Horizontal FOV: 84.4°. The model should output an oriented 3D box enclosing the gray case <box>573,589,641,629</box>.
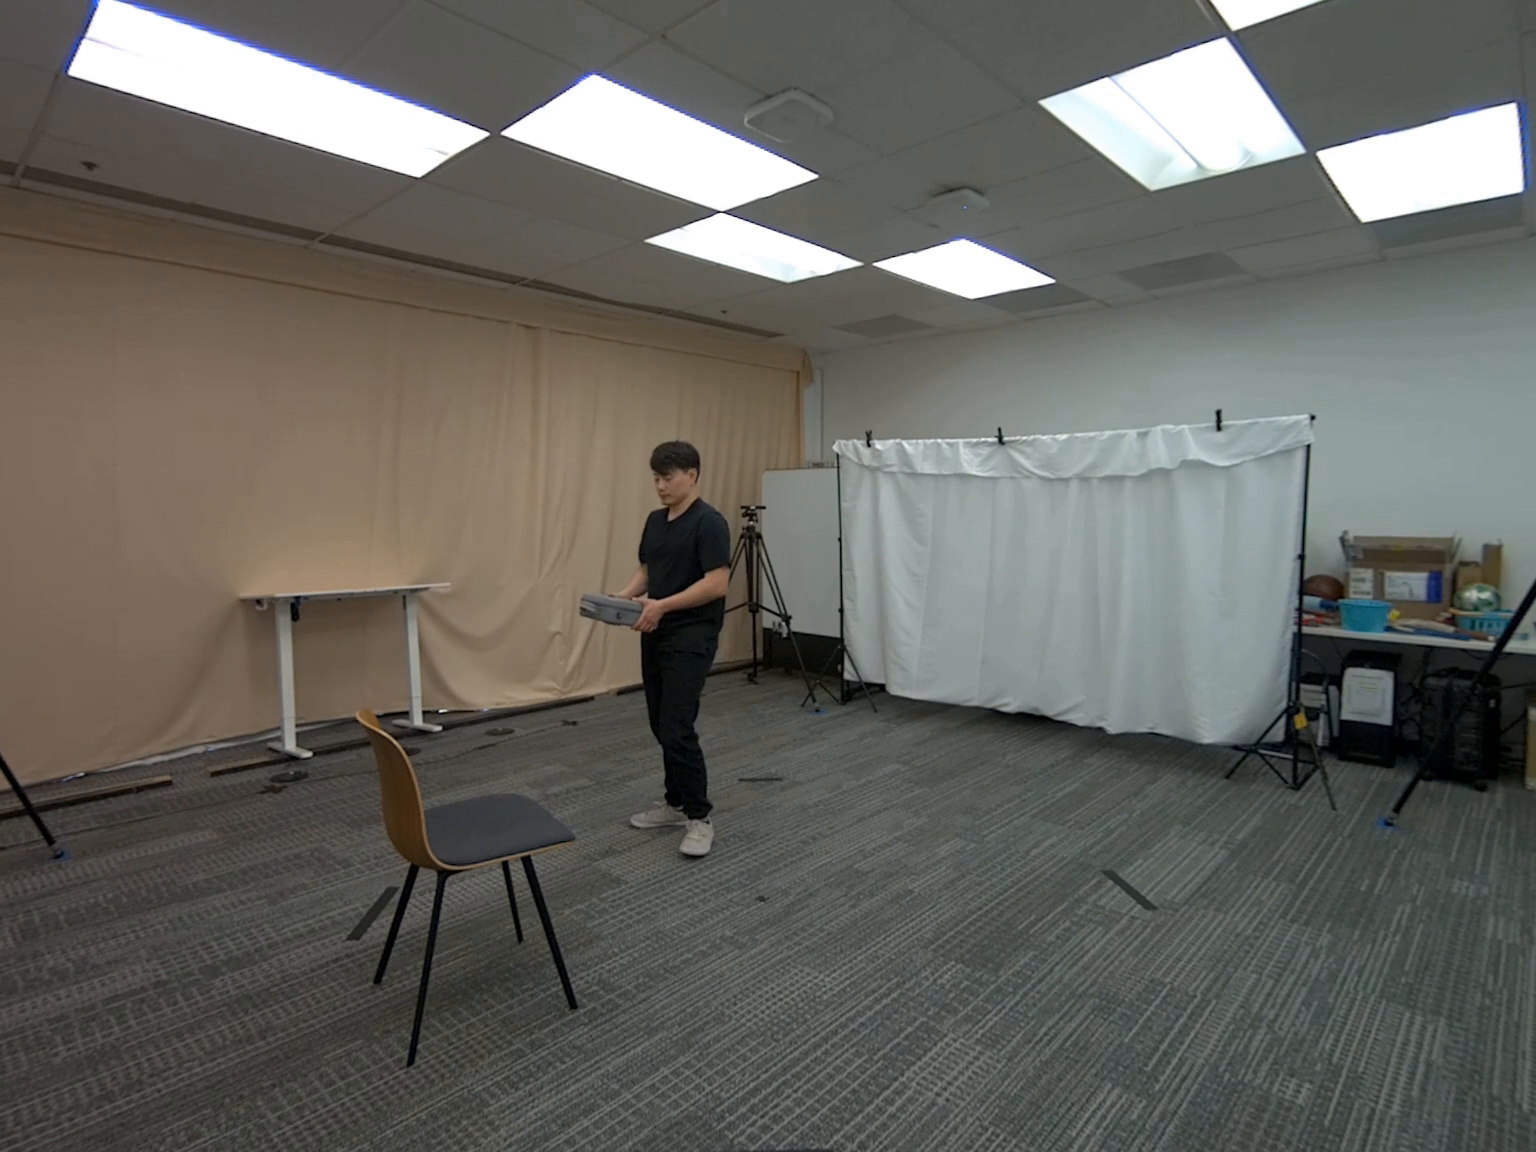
[{"bbox_3d":[-0.602,0.135,3.404,0.252,0.104,0.265,10,0,-35],"label":"gray case"}]
